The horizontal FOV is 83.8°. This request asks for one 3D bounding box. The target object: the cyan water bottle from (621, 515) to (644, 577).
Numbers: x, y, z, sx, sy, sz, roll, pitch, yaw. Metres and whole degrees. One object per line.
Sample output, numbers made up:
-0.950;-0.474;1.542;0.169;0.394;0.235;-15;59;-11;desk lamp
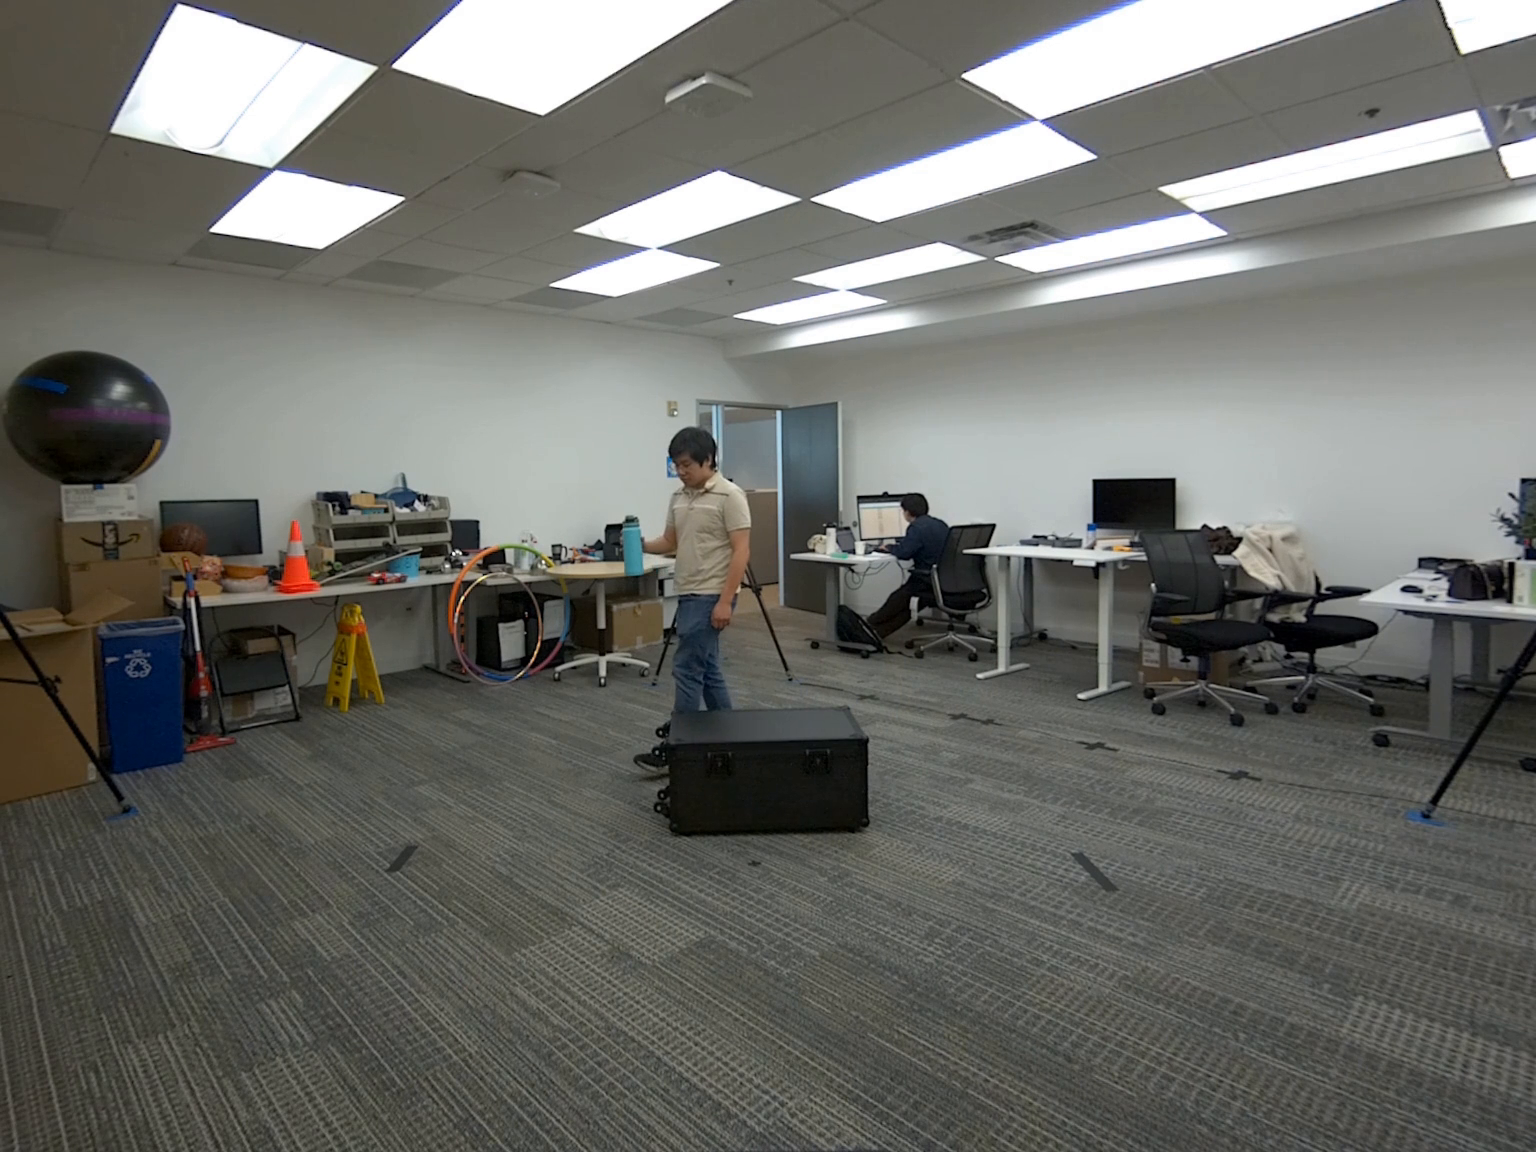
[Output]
-0.643;-0.152;4.077;0.092;0.283;0.092;-3;2;-2;cyan water bottle
